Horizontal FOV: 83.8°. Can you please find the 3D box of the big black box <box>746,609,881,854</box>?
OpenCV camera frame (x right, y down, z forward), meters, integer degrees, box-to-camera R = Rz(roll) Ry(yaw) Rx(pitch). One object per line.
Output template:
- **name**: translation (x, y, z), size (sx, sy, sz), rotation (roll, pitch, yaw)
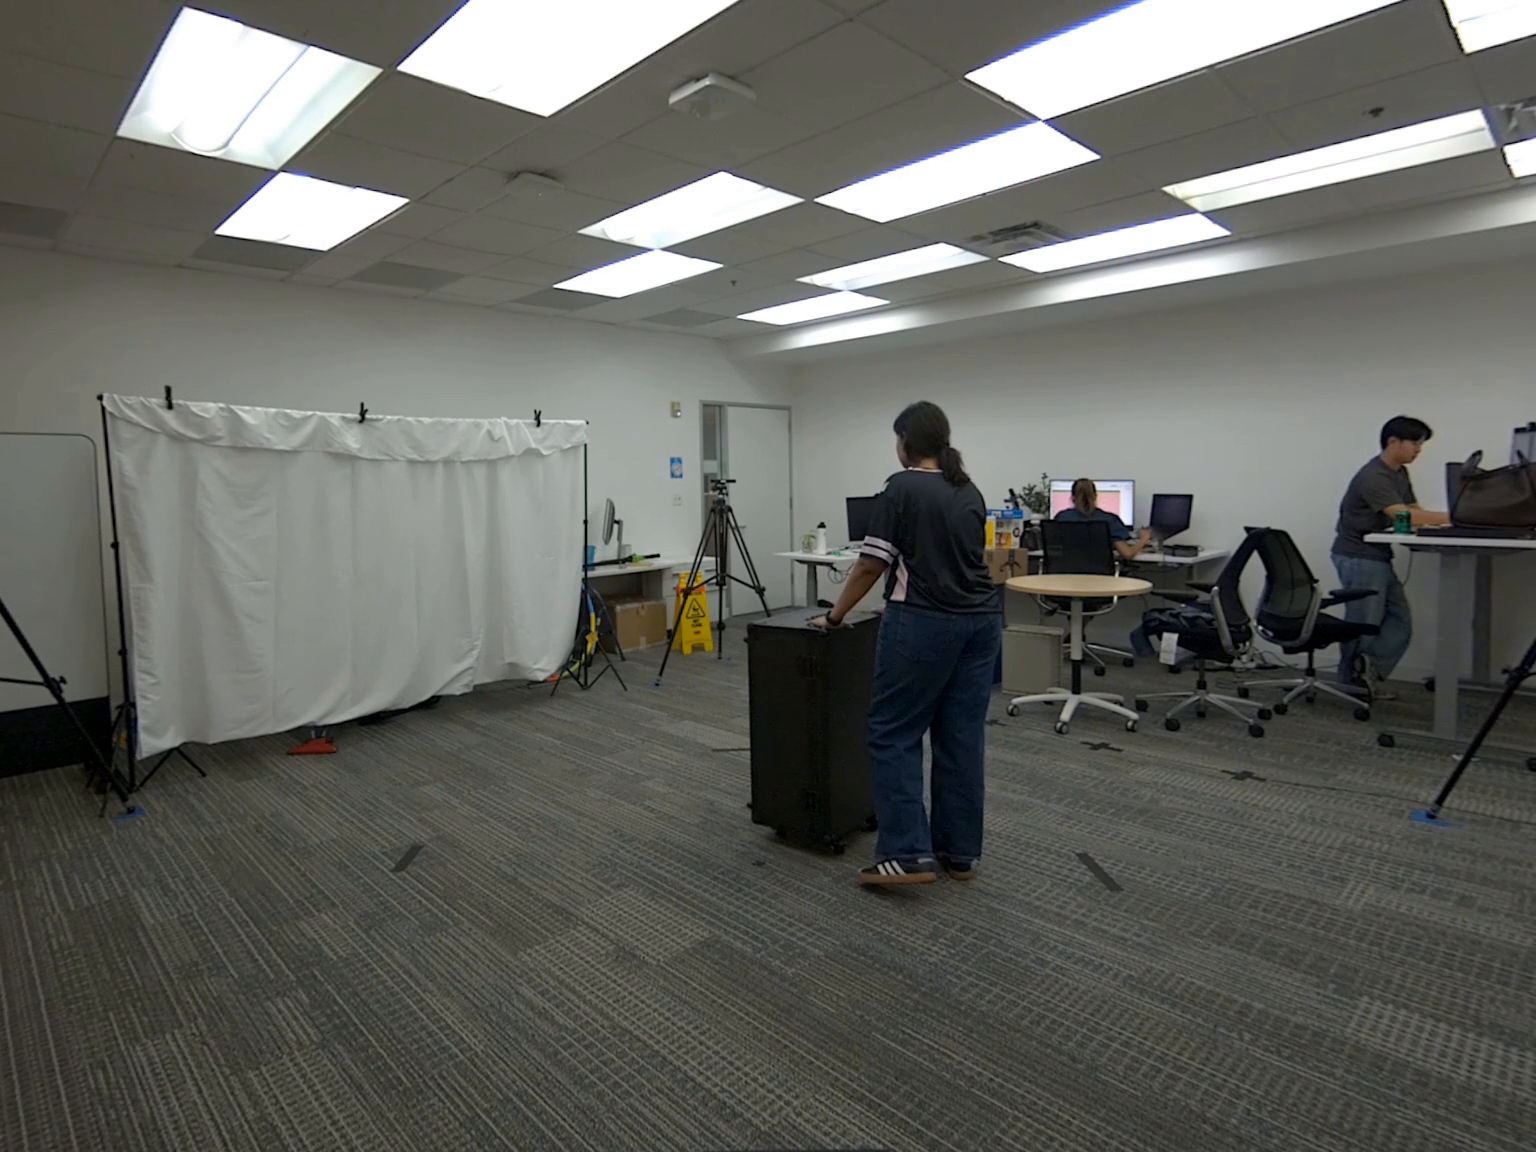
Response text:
- **big black box**: translation (0.200, 0.592, 3.372), size (0.396, 0.866, 0.510), rotation (2, 5, 36)
